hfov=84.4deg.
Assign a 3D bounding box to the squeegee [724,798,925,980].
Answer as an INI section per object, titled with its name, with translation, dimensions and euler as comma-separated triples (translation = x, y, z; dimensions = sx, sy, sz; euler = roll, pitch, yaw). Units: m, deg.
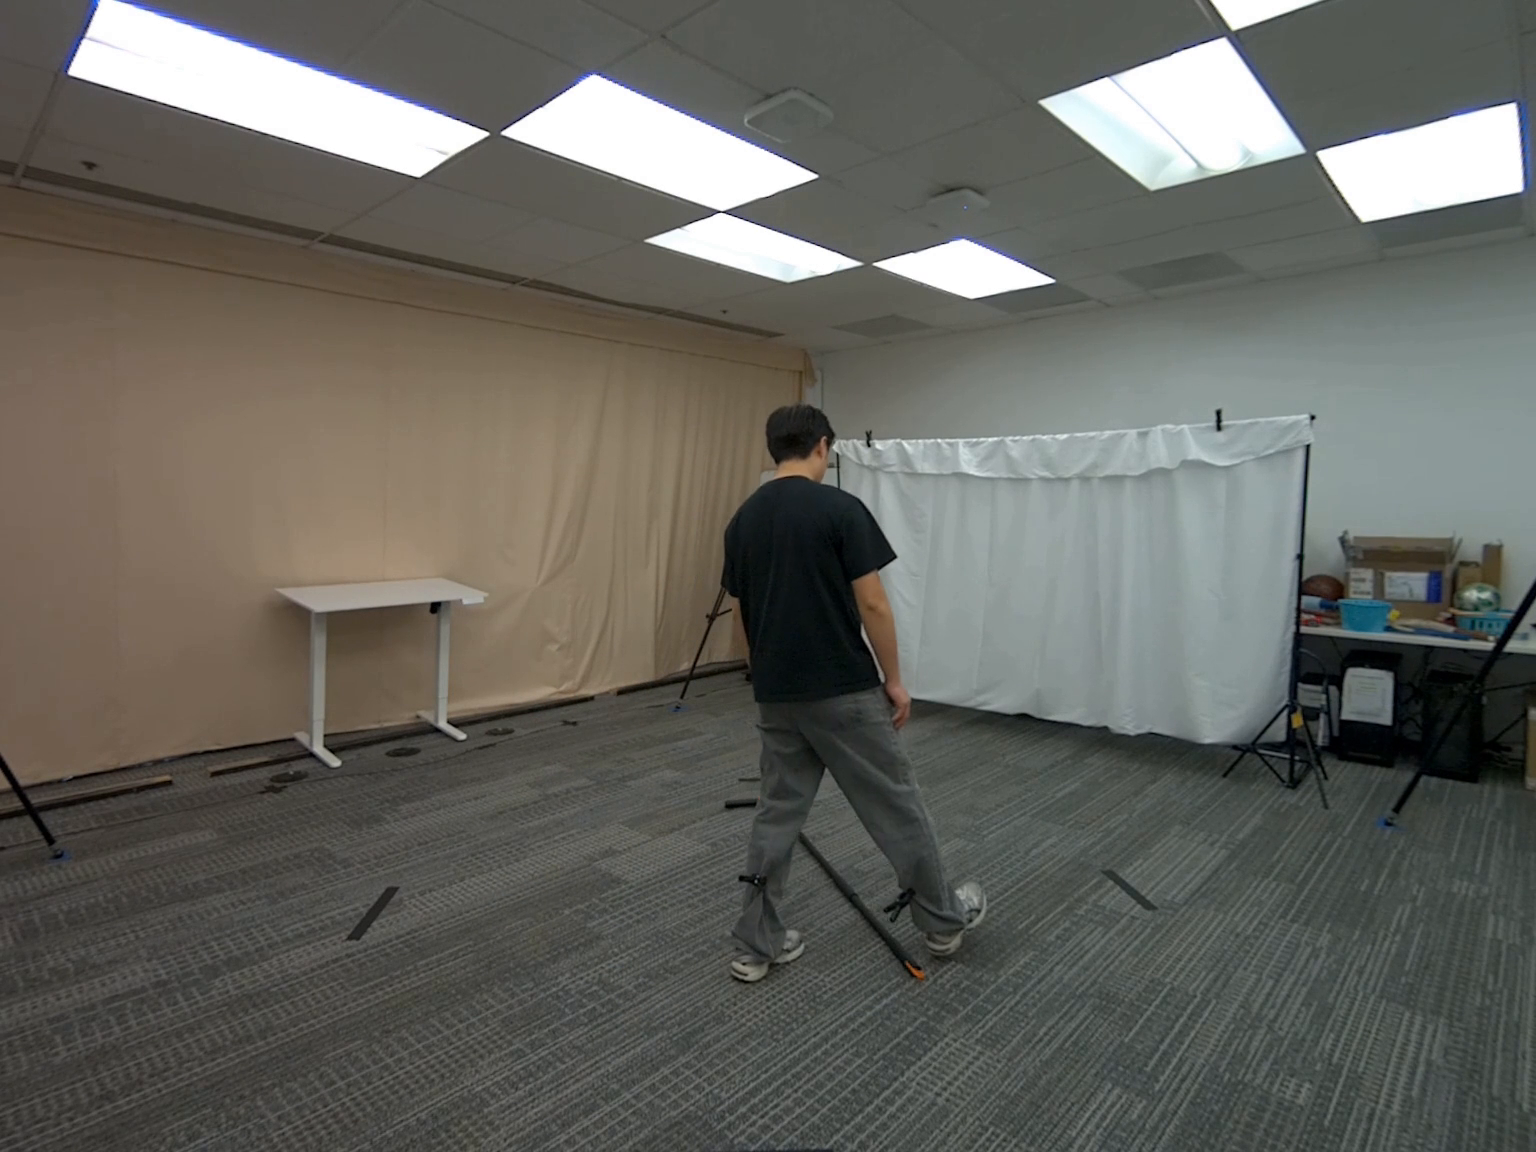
[squeegee]
translation = 0.226, 1.071, 3.189
dimensions = 0.430, 0.053, 1.567
euler = -3, 5, -18
